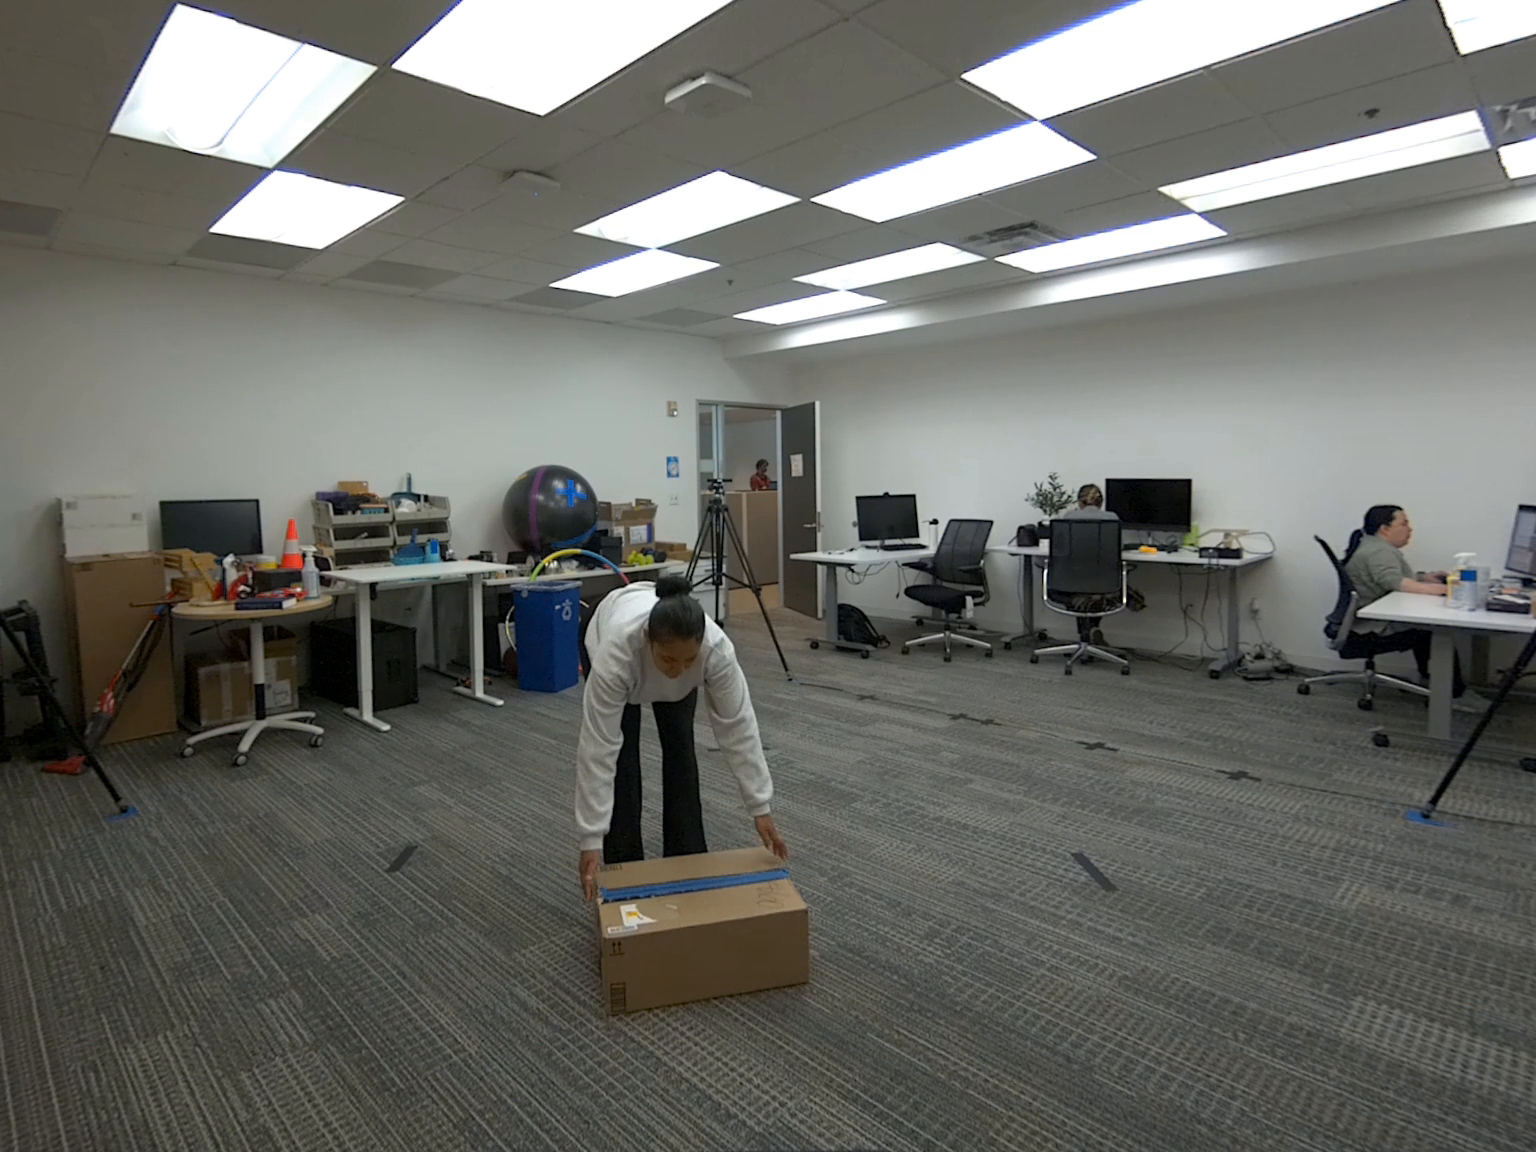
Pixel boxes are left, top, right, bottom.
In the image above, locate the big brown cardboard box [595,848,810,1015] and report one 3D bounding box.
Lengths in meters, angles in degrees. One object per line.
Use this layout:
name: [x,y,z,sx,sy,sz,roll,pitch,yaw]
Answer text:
big brown cardboard box: [-0.212,1.008,2.493,0.581,0.232,0.425,-2,6,-15]
